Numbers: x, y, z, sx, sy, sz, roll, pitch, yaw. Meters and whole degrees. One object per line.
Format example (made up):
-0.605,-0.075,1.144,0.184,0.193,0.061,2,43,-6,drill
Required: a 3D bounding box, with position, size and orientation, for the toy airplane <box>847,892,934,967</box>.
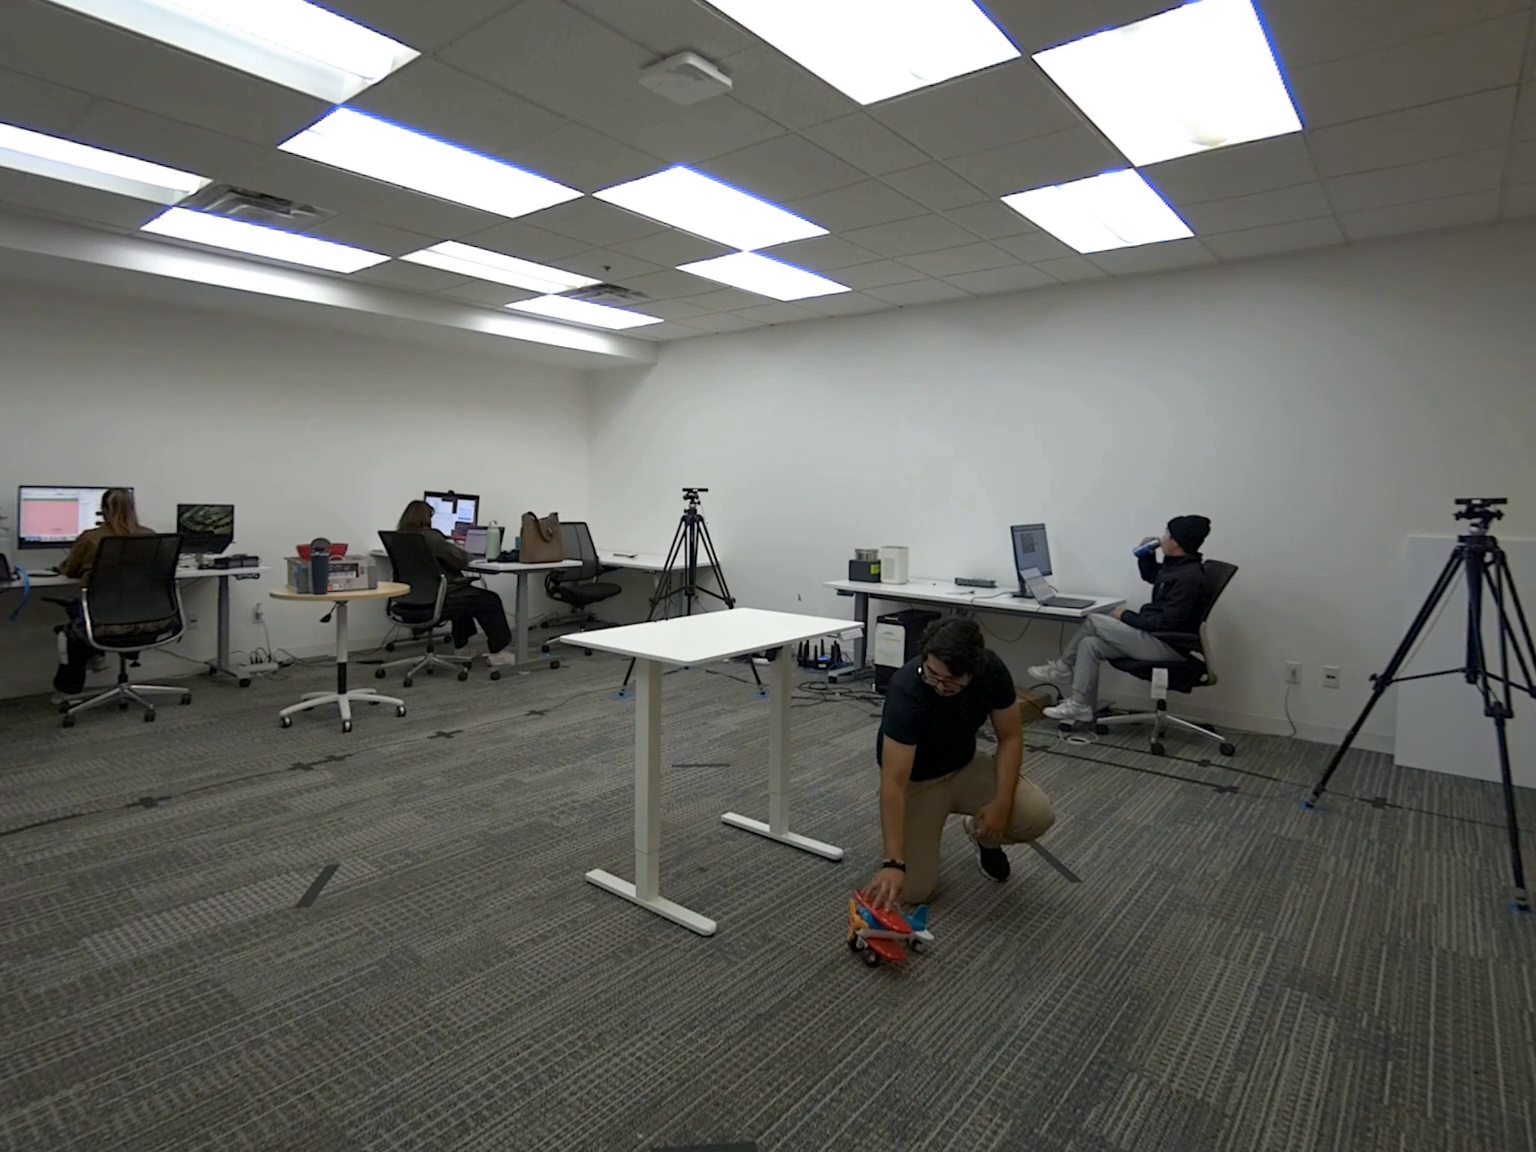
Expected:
0.350,1.062,2.579,0.260,0.155,0.252,6,8,39,toy airplane
